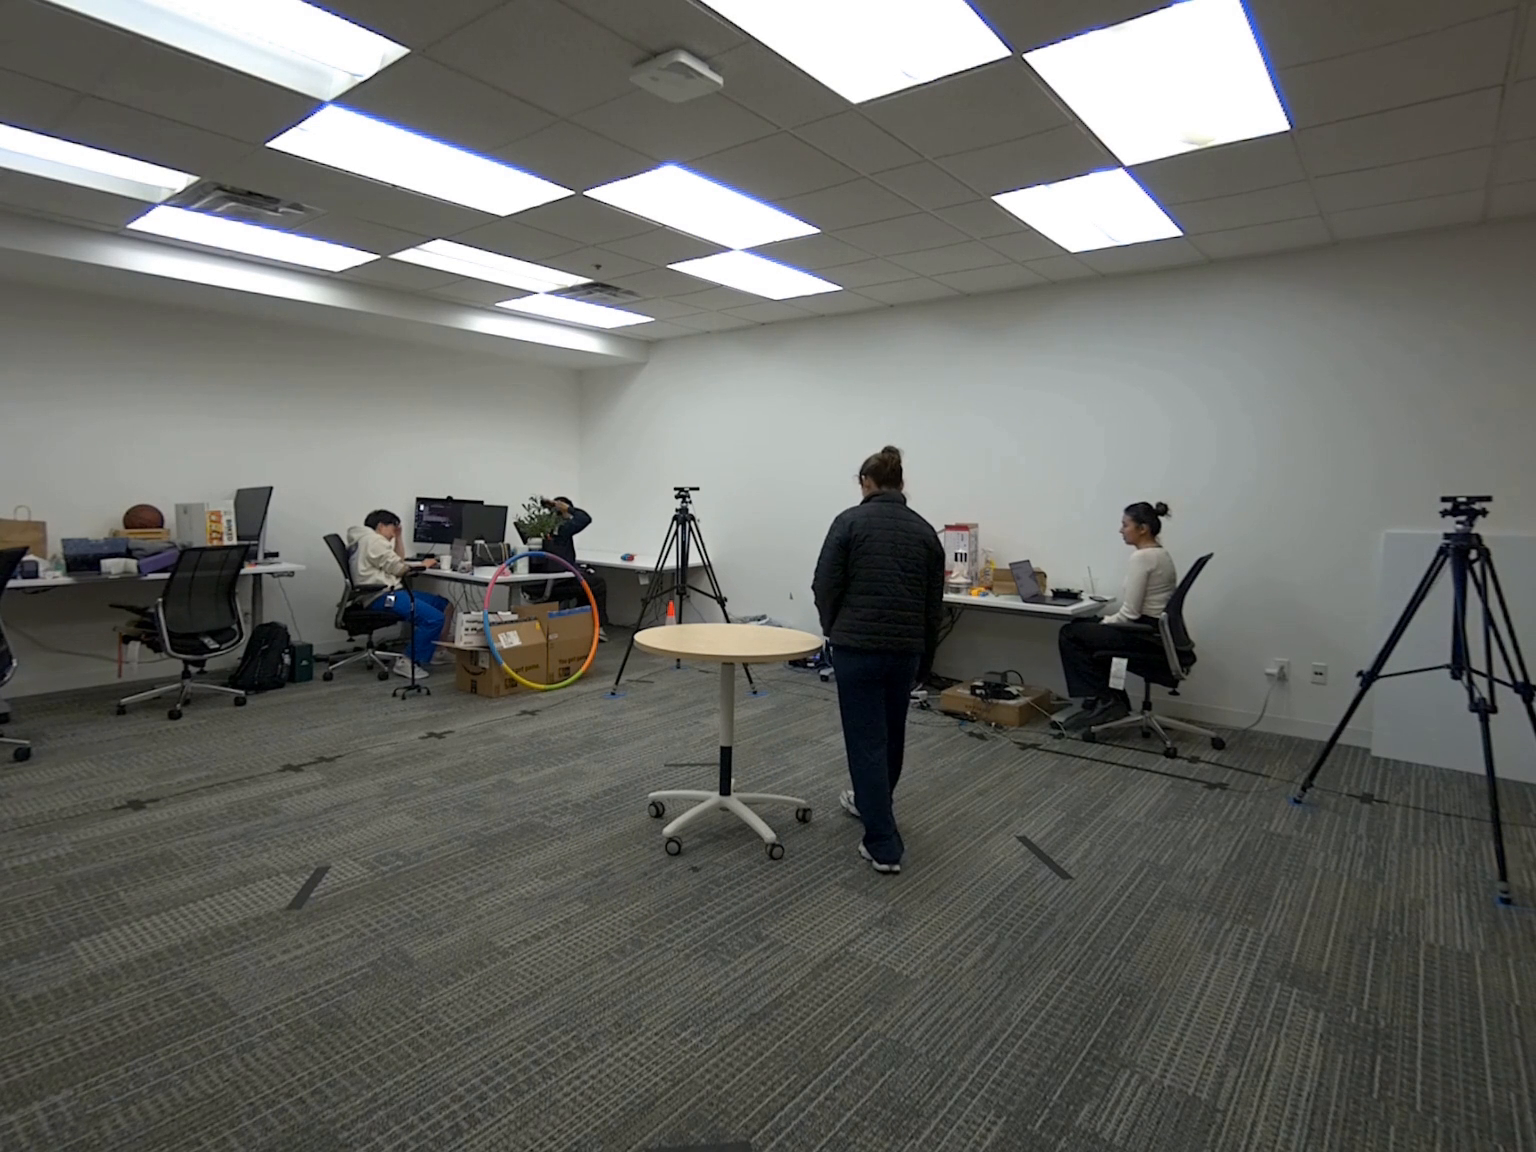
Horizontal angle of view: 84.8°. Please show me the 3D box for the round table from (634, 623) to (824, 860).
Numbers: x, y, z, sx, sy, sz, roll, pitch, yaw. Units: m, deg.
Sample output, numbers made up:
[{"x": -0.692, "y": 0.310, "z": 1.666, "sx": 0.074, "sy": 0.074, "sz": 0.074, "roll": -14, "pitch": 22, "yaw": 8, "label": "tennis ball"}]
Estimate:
[{"x": -0.168, "y": 0.634, "z": 3.473, "sx": 0.784, "sy": 0.784, "sz": 0.788, "roll": 2, "pitch": 4, "yaw": -2, "label": "round table"}]
